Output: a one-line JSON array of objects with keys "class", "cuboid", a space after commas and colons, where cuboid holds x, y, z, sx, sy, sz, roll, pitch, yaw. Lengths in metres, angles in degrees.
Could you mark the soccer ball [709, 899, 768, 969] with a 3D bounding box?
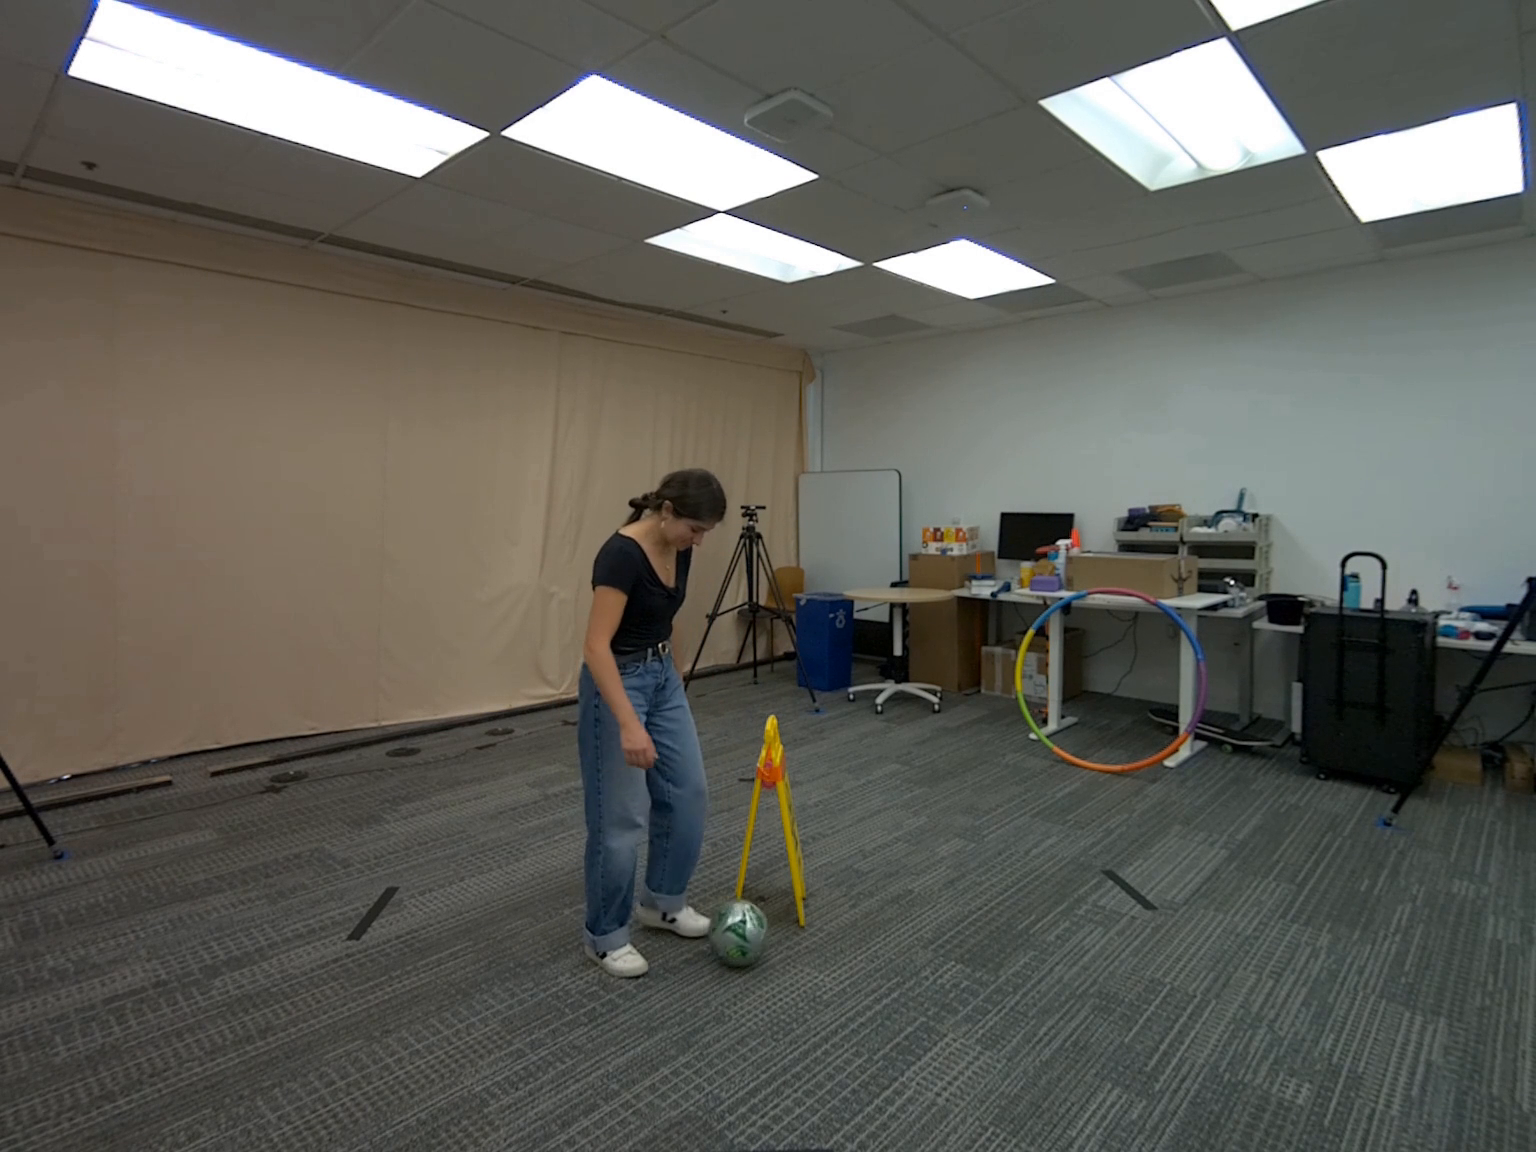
[{"class": "soccer ball", "cuboid": [-0.086, 1.092, 2.544, 0.187, 0.187, 0.188, 0, 4, -2]}]
